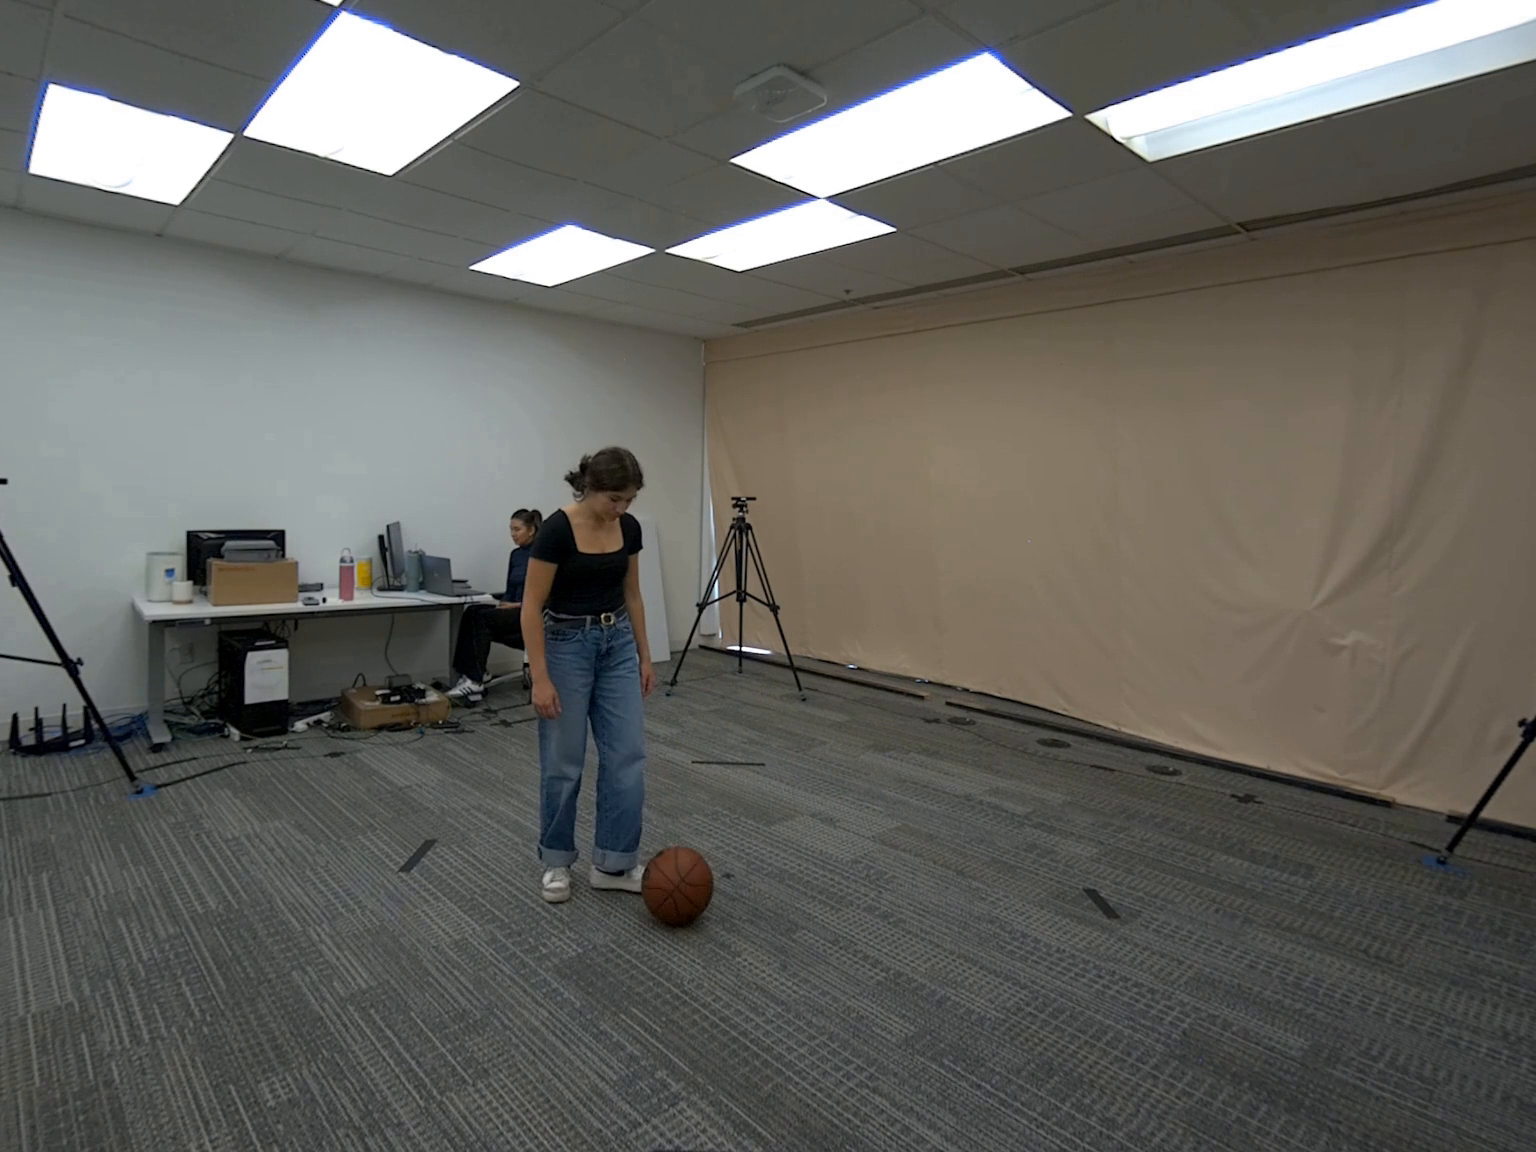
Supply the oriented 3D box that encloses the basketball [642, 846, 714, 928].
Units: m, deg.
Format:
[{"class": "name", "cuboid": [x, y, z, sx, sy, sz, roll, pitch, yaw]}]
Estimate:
[{"class": "basketball", "cuboid": [-0.306, 1.014, 2.763, 0.236, 0.235, 0.237, 1, 4, -1]}]
